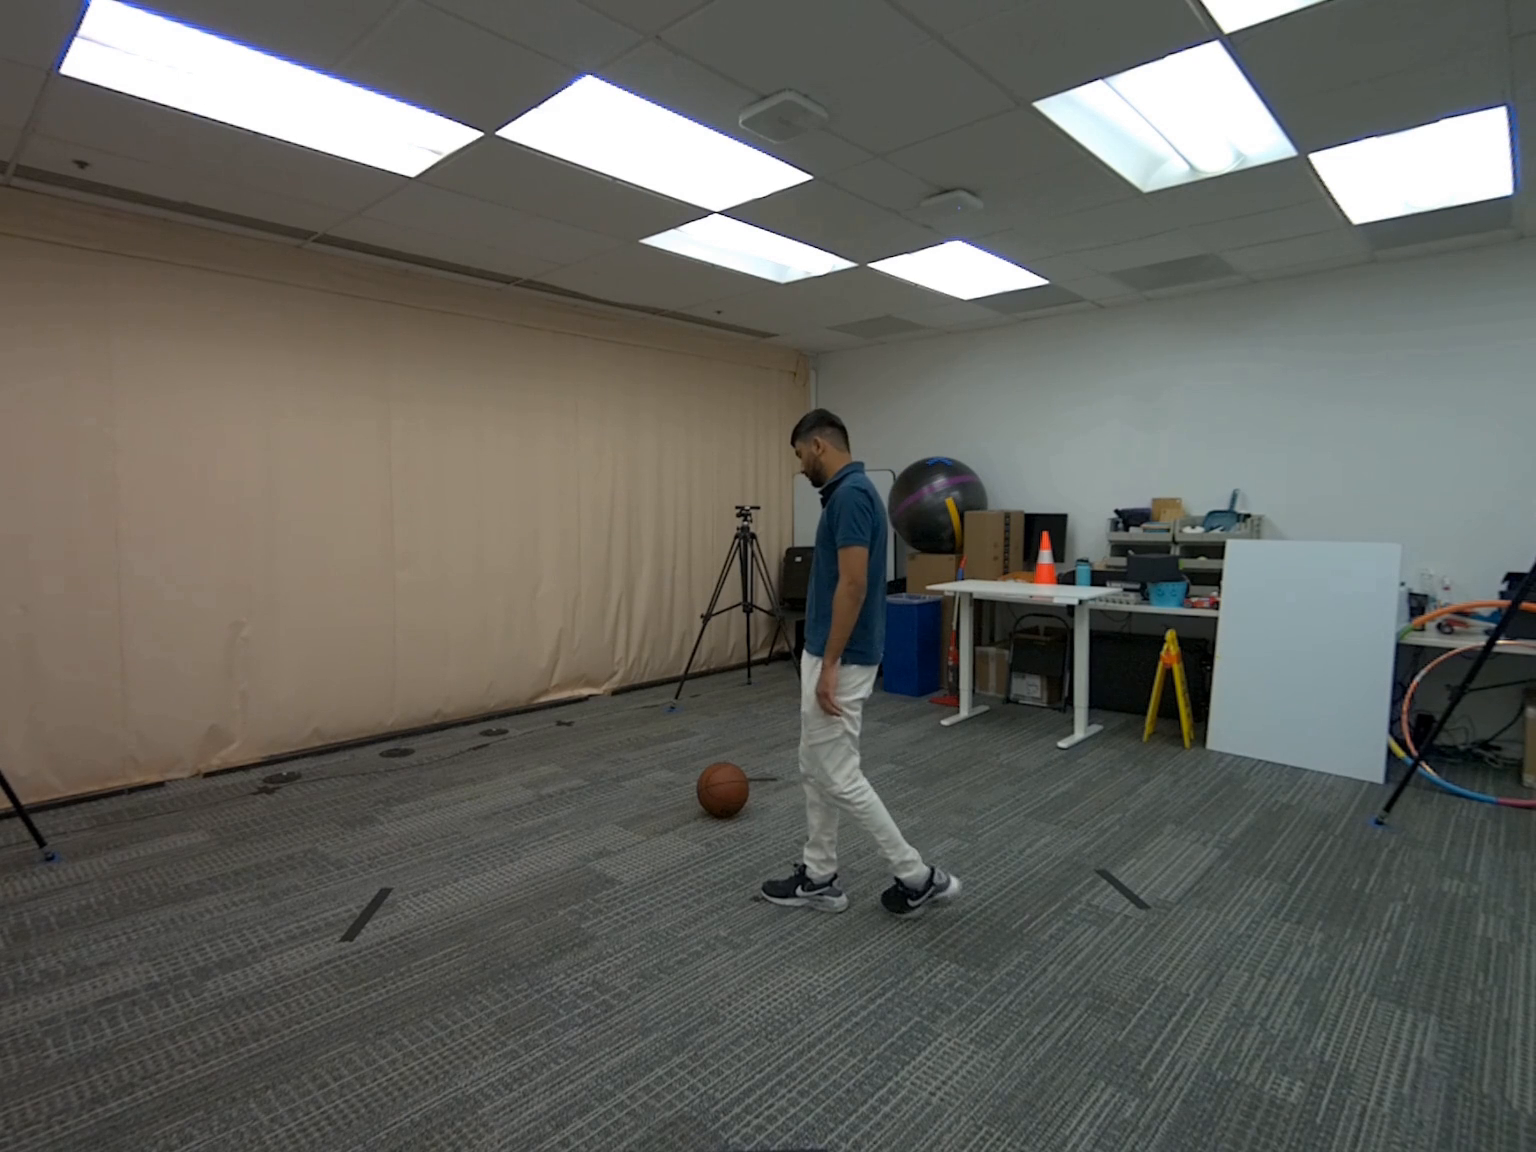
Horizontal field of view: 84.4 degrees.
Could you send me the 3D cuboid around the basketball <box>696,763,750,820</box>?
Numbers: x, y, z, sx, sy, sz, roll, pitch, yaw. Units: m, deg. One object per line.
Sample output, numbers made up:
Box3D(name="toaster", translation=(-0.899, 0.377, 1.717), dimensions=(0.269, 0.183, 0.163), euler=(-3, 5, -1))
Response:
Box3D(name="basketball", translation=(-0.206, 0.960, 3.799), dimensions=(0.236, 0.235, 0.237), euler=(0, 4, -2))
